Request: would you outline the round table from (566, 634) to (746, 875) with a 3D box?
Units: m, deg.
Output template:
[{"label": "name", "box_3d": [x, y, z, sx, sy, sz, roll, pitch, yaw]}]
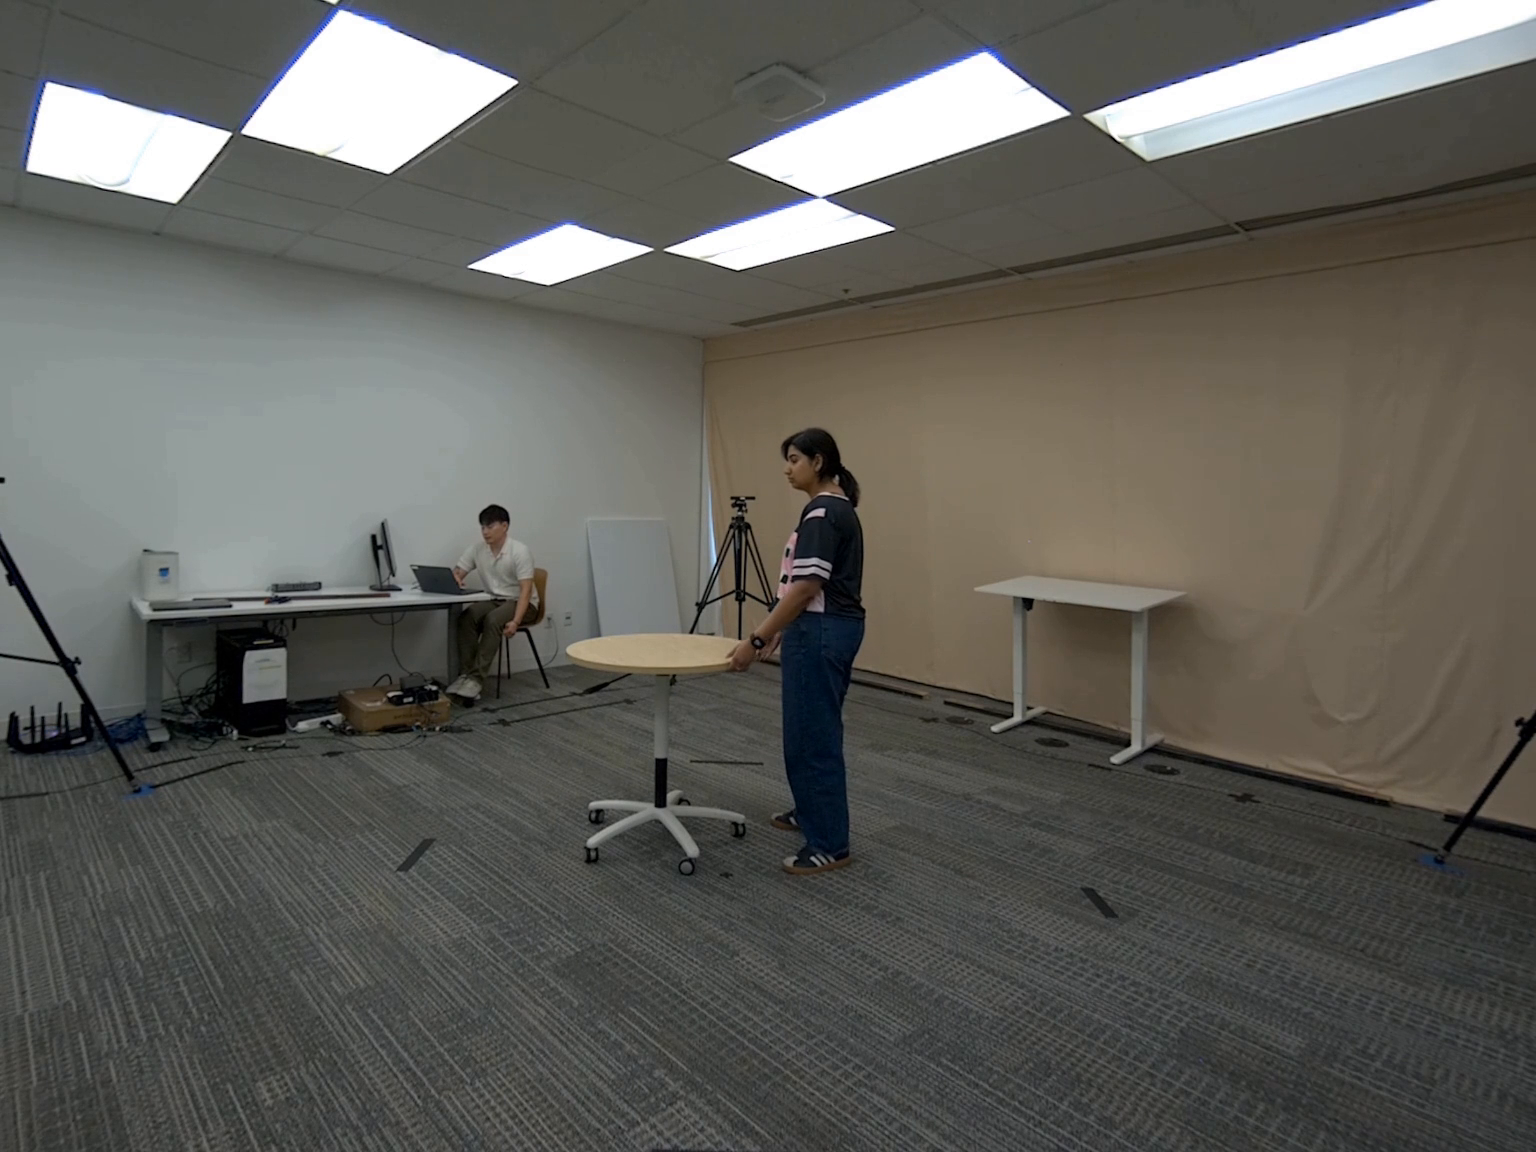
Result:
[{"label": "round table", "box_3d": [-0.430, 0.681, 3.383, 0.763, 0.792, 0.766, 1, 4, -1]}]
